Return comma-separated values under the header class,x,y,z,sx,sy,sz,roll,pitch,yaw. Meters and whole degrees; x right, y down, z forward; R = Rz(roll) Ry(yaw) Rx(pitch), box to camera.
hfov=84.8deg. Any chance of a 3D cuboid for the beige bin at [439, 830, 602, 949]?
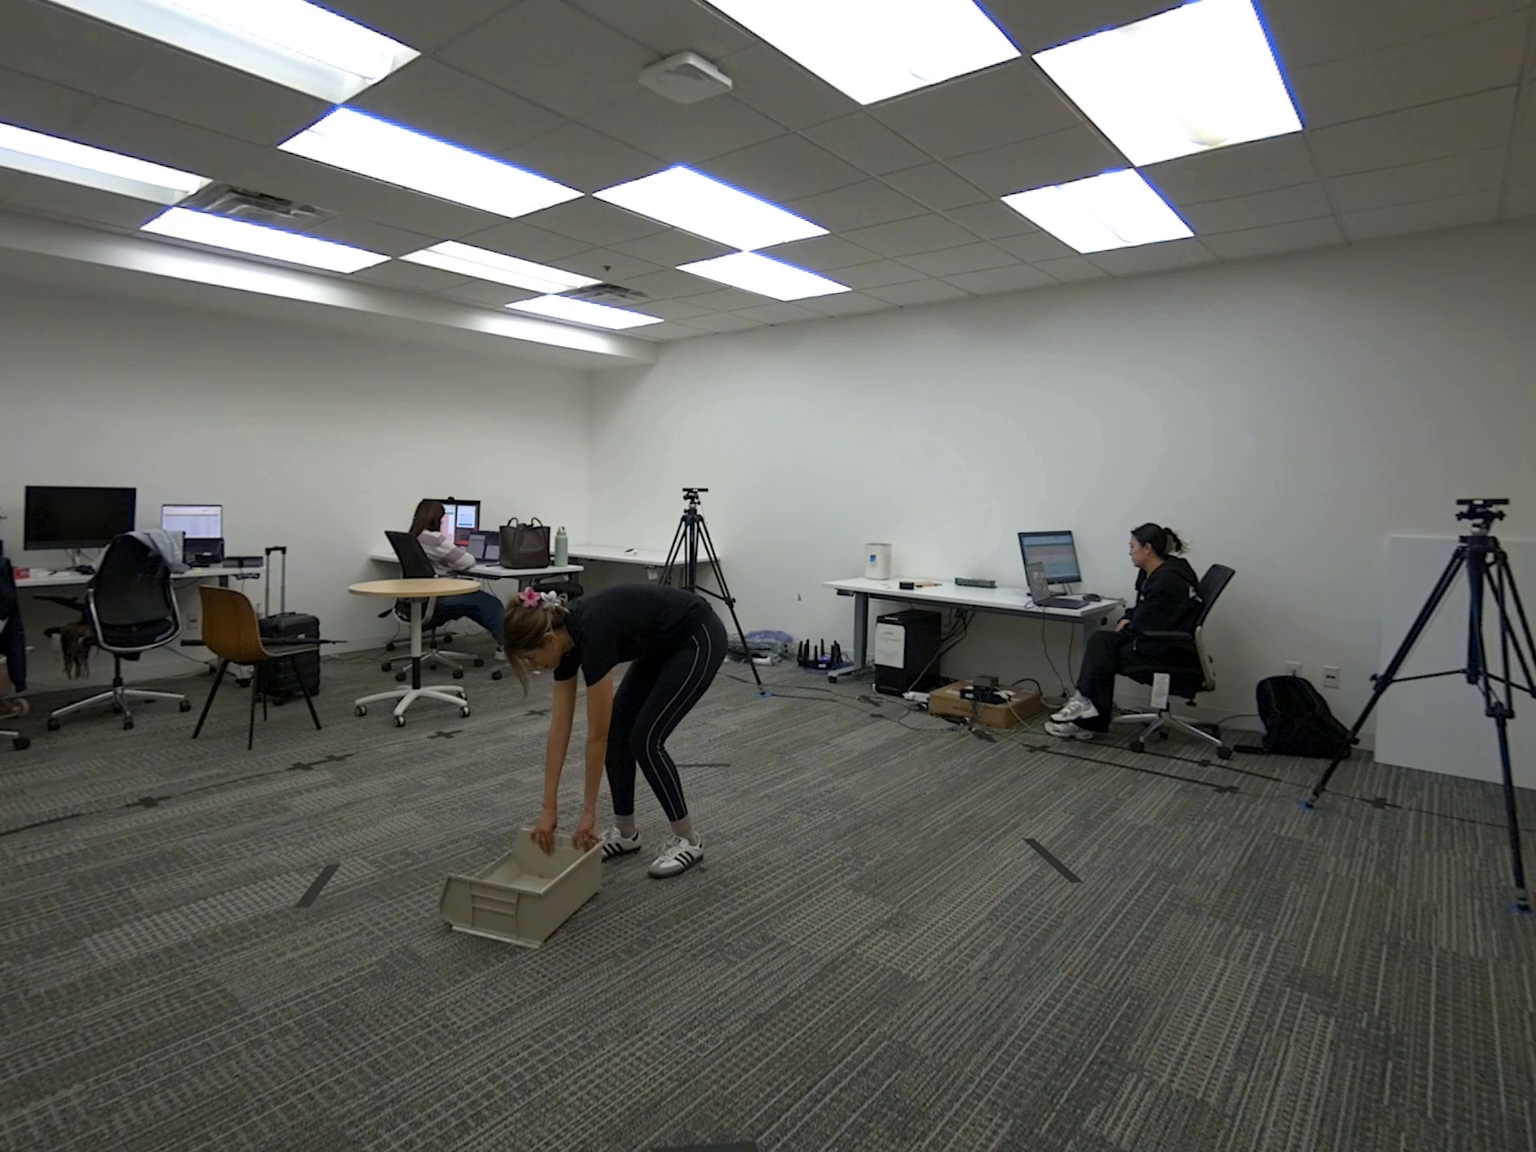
class,x,y,z,sx,sy,sz,roll,pitch,yaw
beige bin,-0.806,1.005,2.792,0.385,0.188,0.415,4,5,18
